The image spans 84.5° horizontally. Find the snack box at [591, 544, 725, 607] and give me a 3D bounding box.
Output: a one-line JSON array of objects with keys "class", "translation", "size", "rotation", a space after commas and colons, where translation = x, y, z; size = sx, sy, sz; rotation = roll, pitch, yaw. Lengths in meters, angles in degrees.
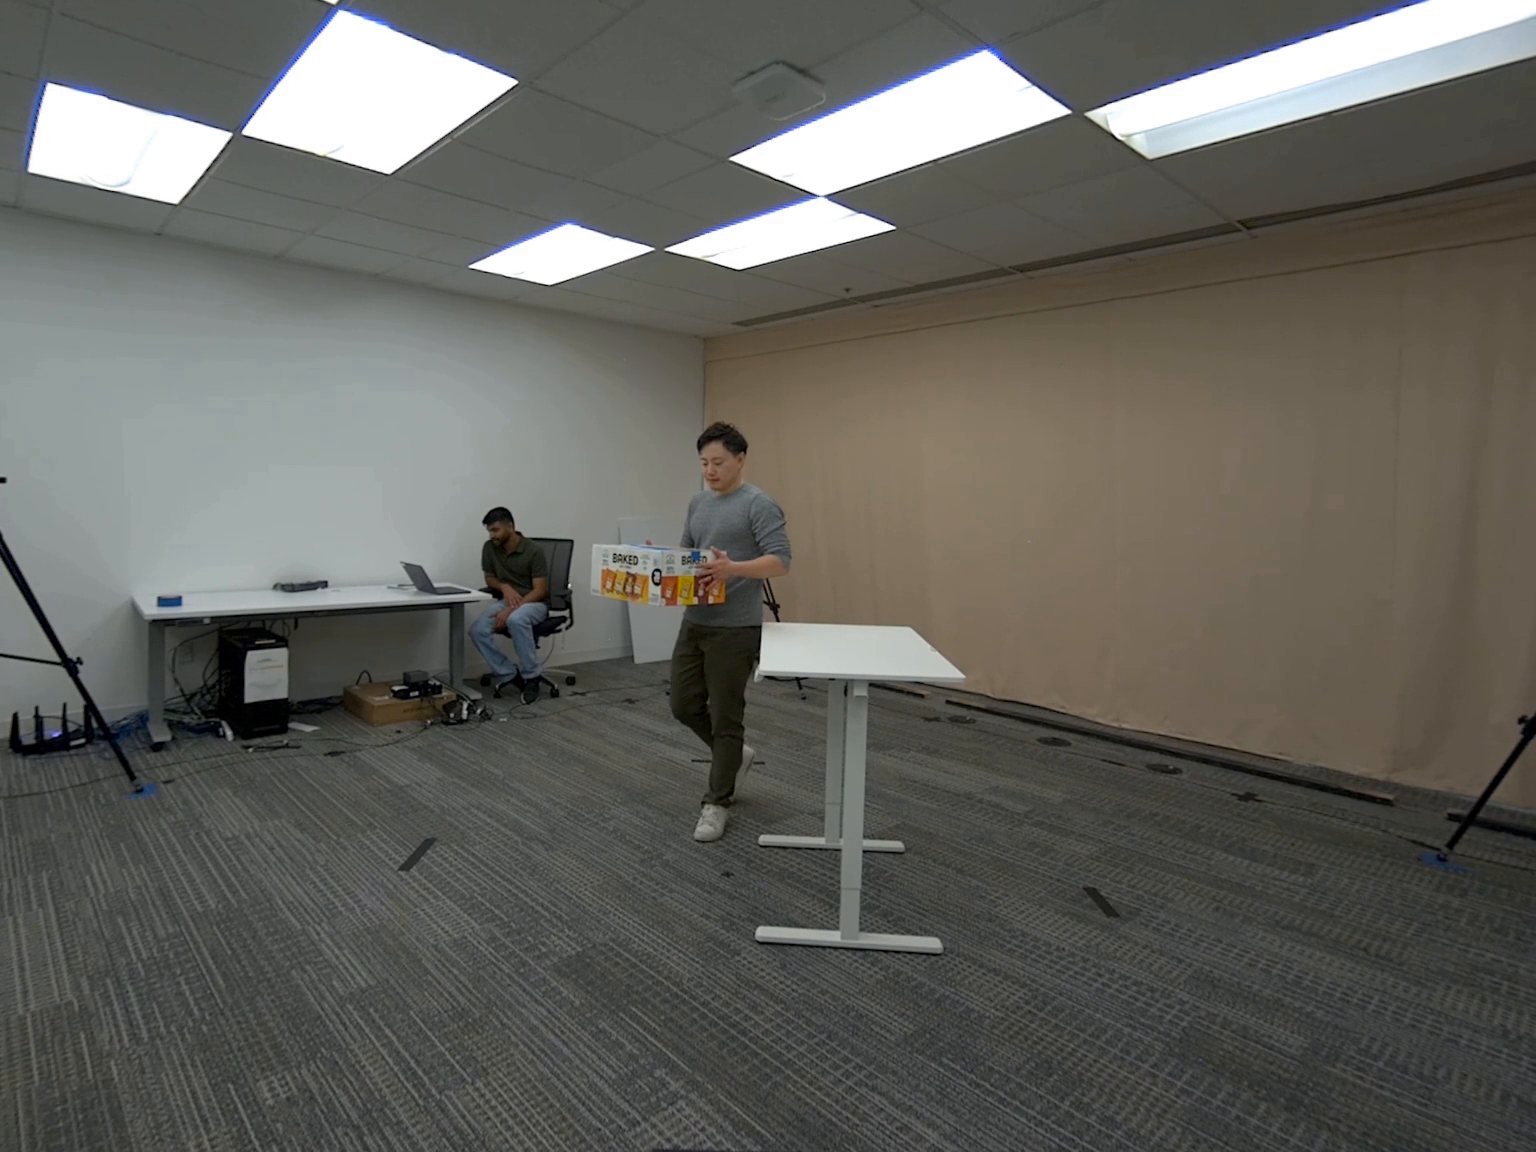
[{"class": "snack box", "translation": [-0.434, -0.006, 3.288], "size": [0.415, 0.205, 0.332], "rotation": [6, 4, 41]}]
